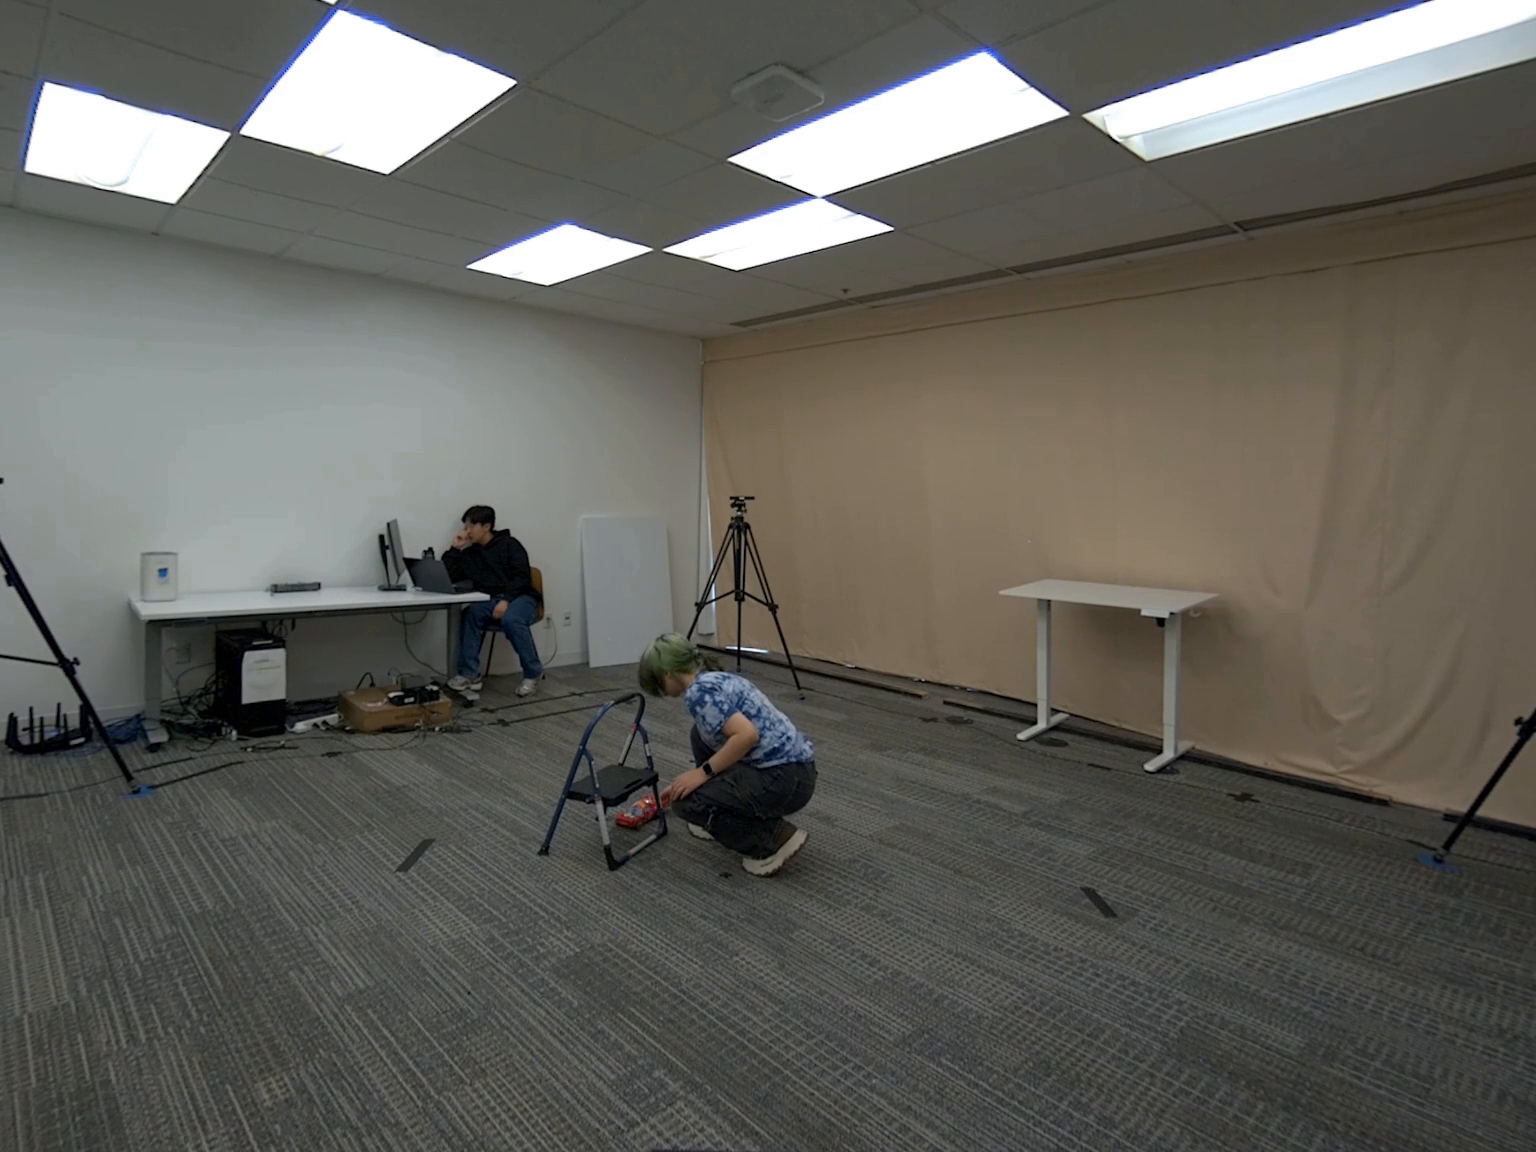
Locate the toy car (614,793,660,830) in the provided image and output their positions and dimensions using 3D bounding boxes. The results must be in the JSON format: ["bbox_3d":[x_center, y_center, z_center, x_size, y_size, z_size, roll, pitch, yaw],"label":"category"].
[{"bbox_3d":[-0.556,1.021,3.613,0.133,0.082,0.252,3,16,27],"label":"toy car"}]
